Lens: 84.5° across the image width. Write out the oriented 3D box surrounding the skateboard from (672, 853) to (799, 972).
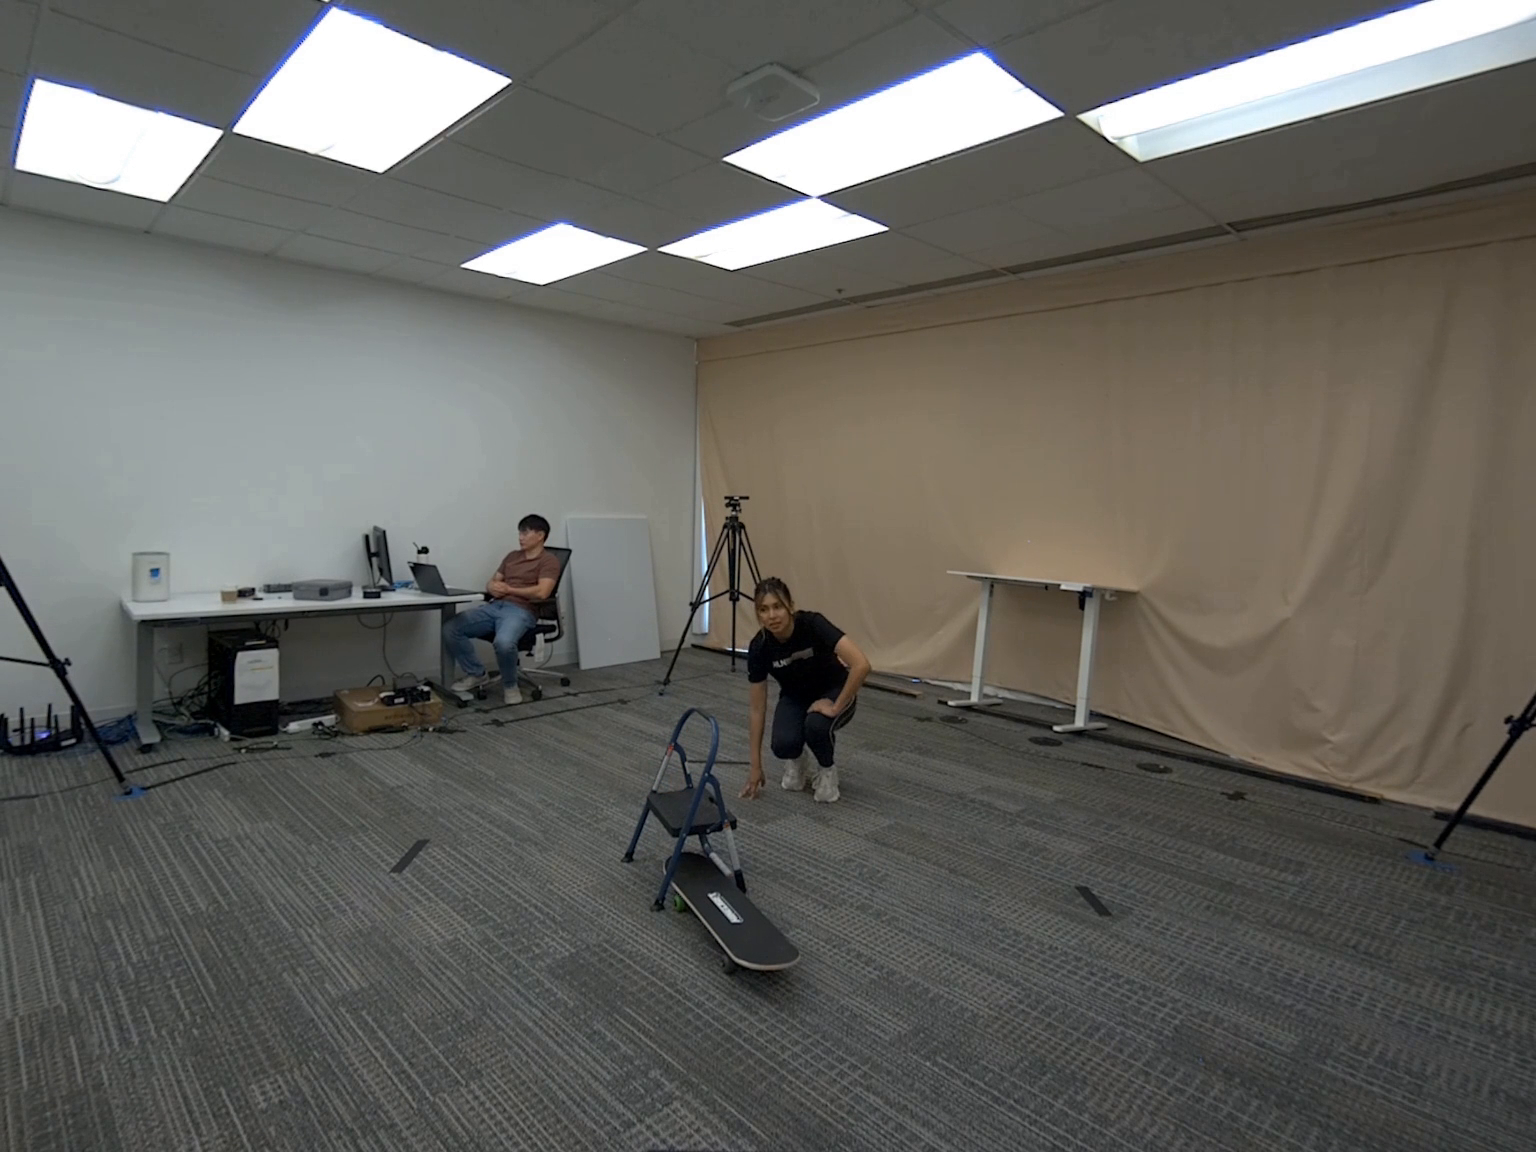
[{"bbox_3d":[-0.147,1.085,2.678,0.190,0.110,0.802,0,6,-26],"label":"skateboard"}]
